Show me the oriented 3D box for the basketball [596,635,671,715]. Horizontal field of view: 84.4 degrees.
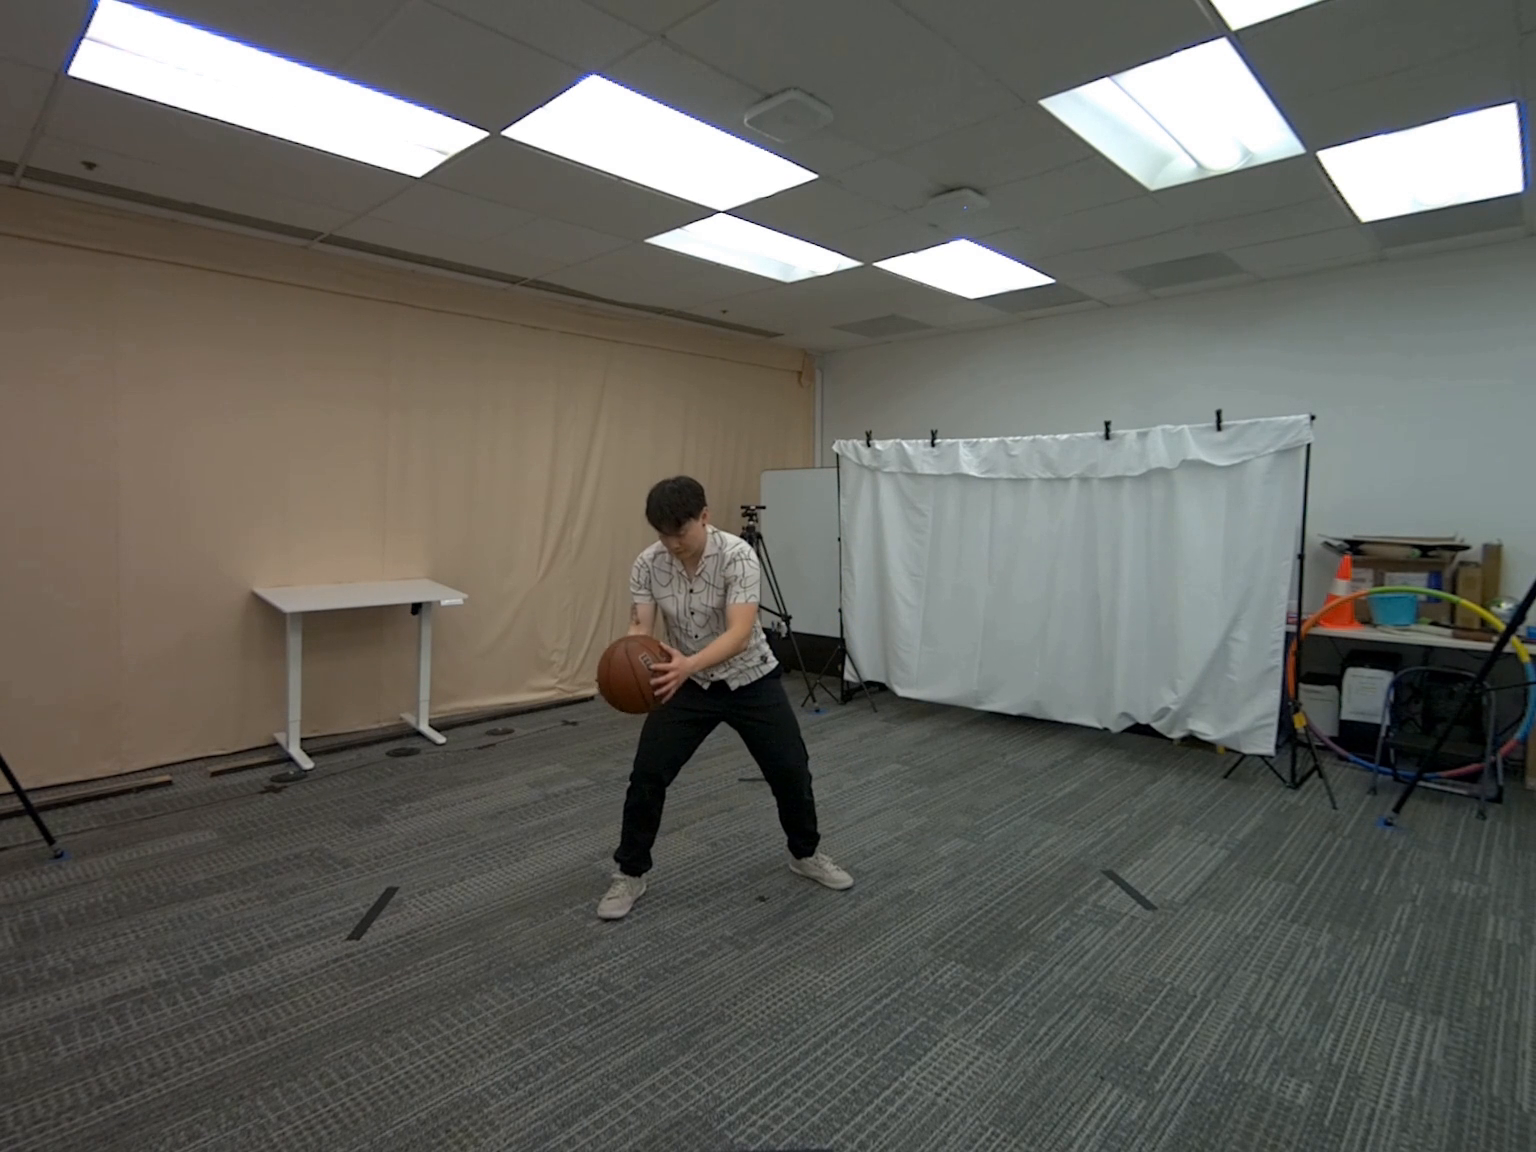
[{"bbox_3d":[-0.393,0.294,2.553,0.236,0.235,0.237,0,4,-2],"label":"basketball"}]
